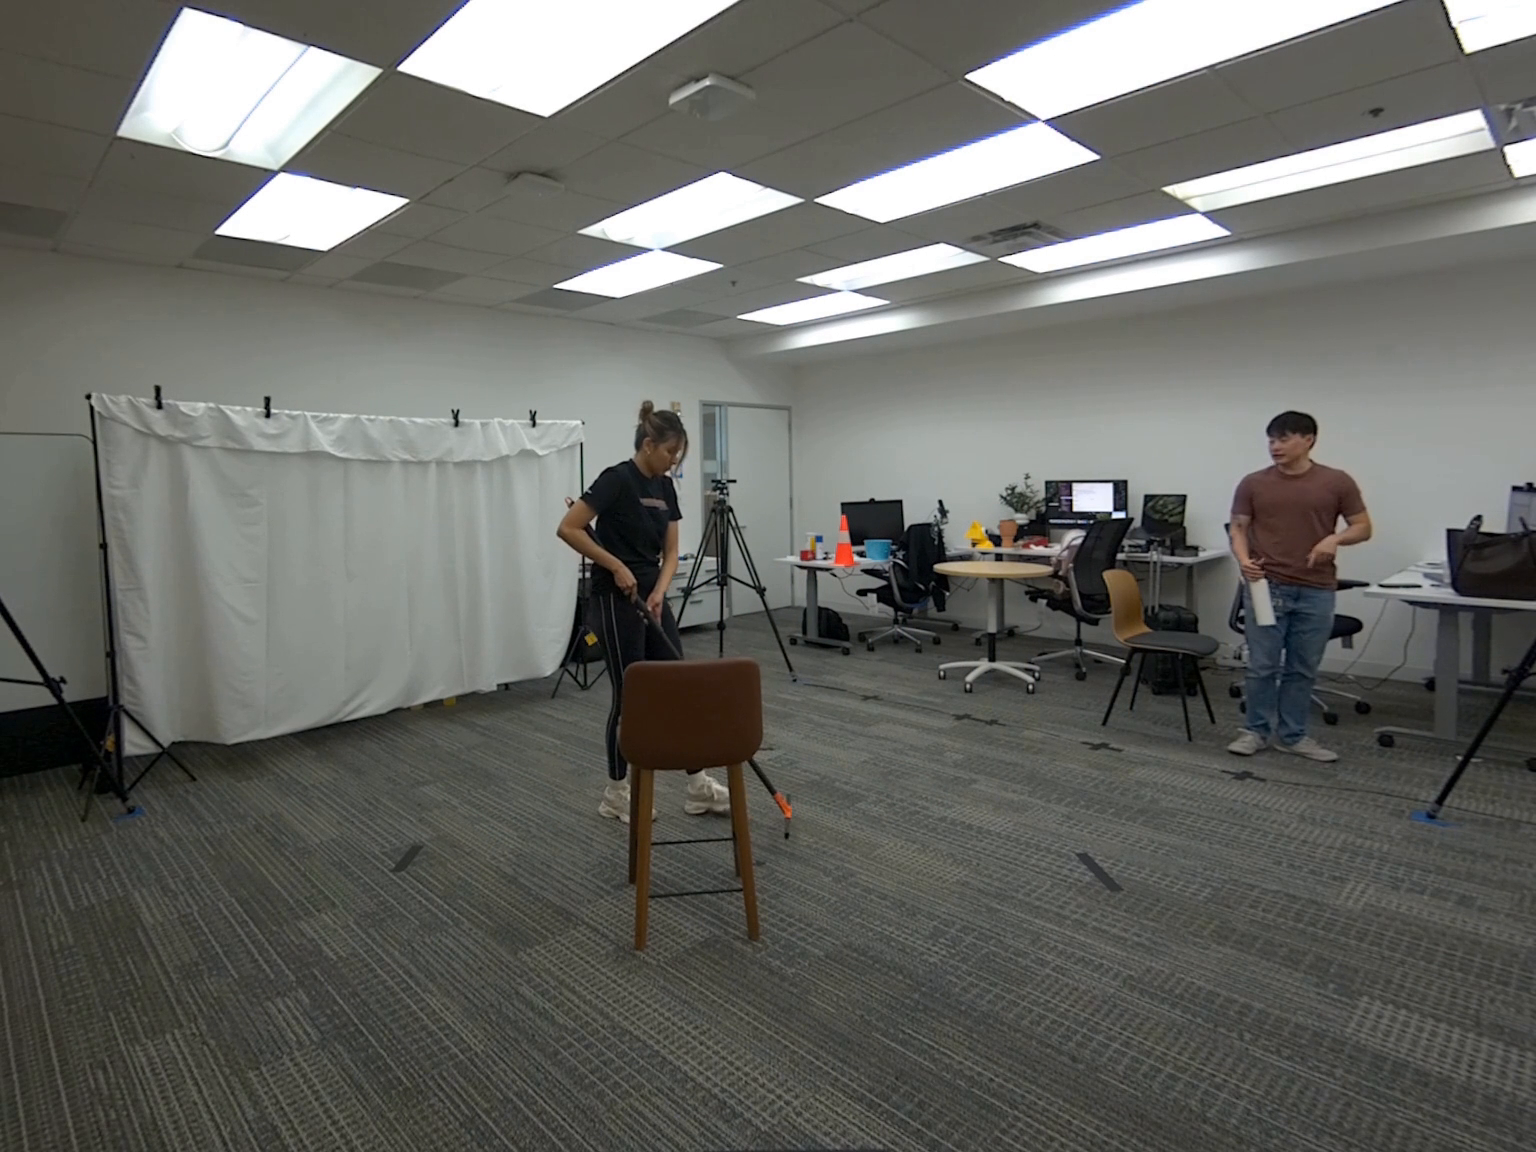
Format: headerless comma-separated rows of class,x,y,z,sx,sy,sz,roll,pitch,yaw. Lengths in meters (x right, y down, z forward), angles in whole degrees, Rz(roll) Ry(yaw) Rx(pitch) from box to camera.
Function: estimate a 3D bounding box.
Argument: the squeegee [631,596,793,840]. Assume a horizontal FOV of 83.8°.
squeegee,-0.332,0.320,3.351,0.053,1.544,0.435,-36,-3,5
